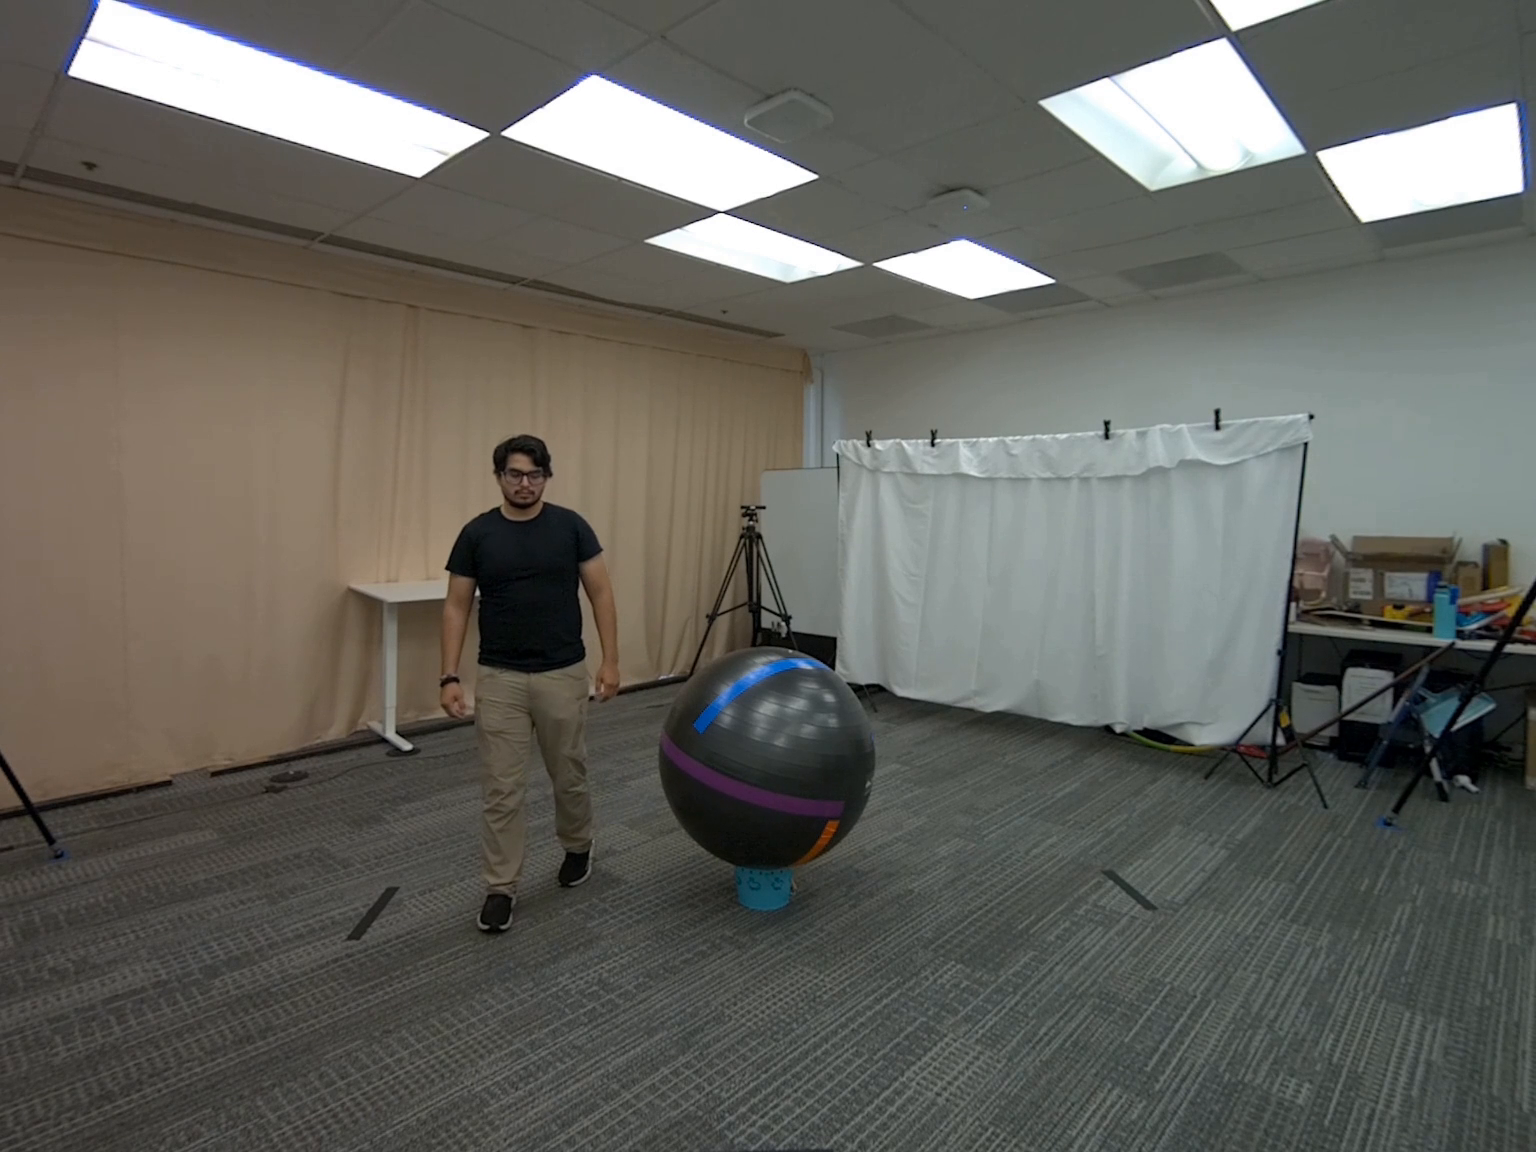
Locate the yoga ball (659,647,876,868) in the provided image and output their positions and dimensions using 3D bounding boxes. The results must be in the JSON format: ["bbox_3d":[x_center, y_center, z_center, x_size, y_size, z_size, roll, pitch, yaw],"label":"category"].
[{"bbox_3d":[0.006,0.635,2.963,0.757,0.756,0.760,0,4,-2],"label":"yoga ball"}]
